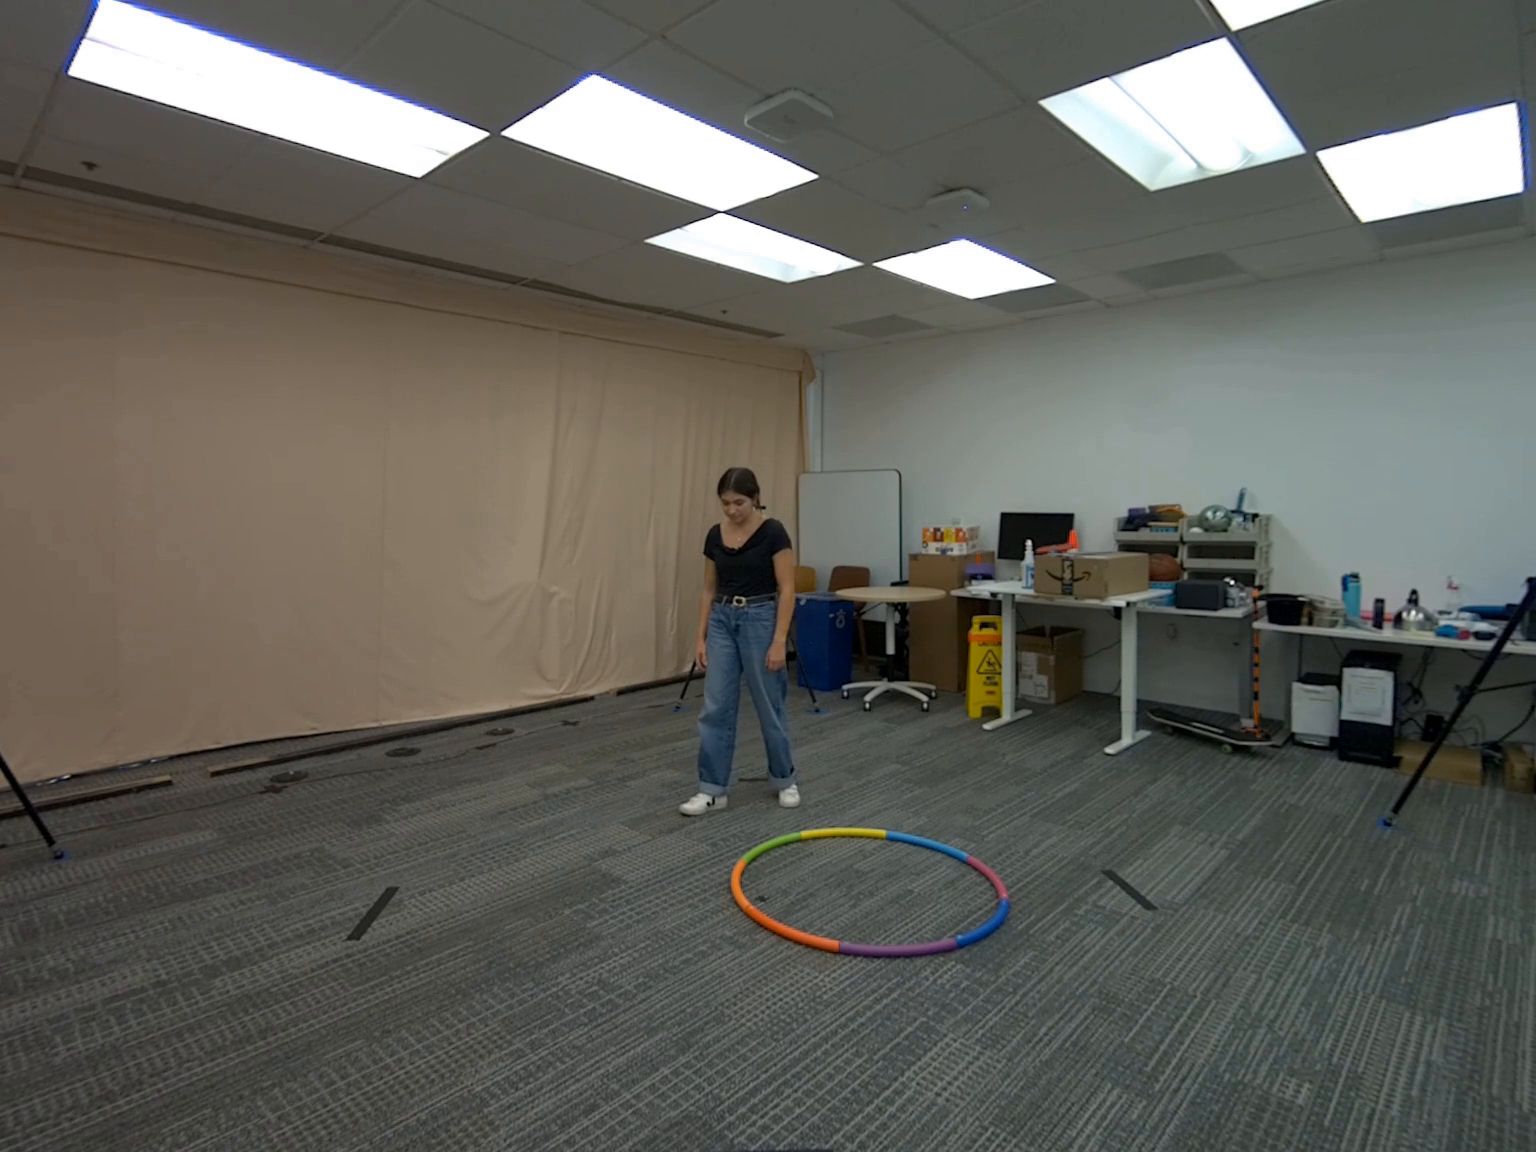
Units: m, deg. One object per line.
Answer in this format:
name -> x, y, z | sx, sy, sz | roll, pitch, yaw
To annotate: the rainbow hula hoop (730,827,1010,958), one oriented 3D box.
rainbow hula hoop -> 0.360, 1.105, 3.069 | 0.978, 0.035, 0.982 | 0, 5, -2
